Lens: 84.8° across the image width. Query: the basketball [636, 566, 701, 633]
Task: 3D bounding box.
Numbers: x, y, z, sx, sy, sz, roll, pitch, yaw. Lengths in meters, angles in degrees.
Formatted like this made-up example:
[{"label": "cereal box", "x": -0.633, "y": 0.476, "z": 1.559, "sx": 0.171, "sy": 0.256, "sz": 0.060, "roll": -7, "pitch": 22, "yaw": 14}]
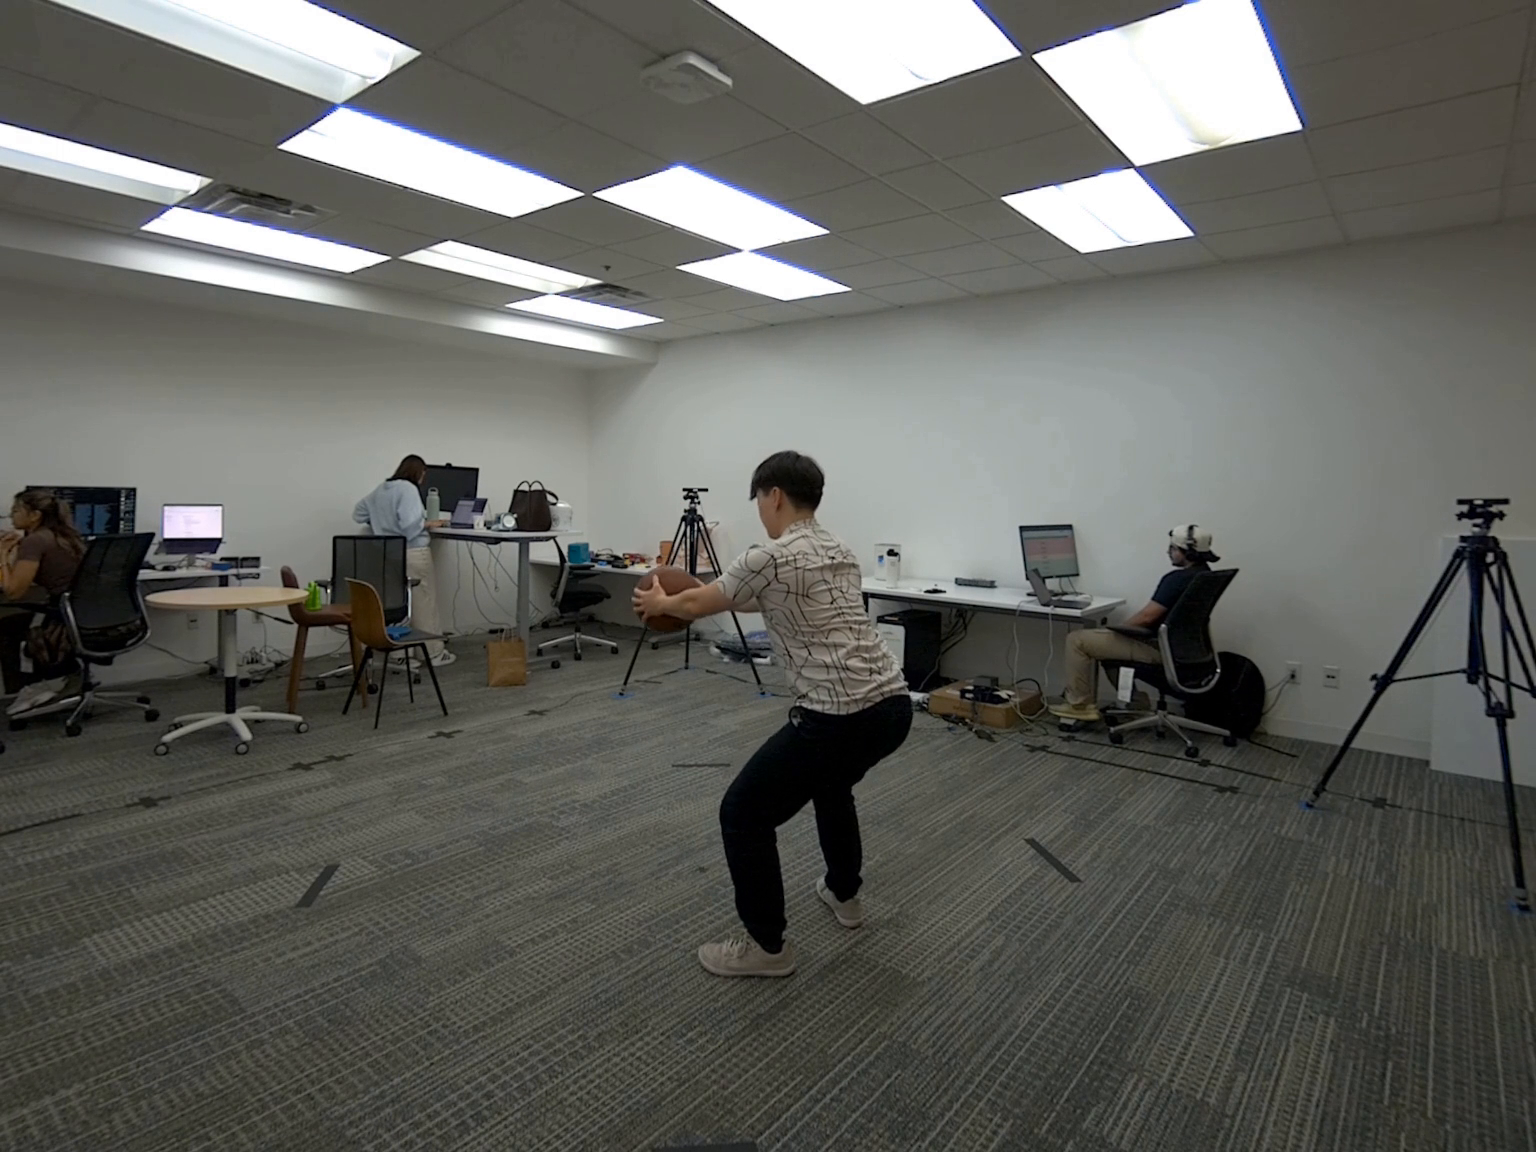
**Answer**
[{"label": "basketball", "x": -0.358, "y": 0.070, "z": 2.982, "sx": 0.235, "sy": 0.235, "sz": 0.237, "roll": 1, "pitch": 4, "yaw": -2}]
